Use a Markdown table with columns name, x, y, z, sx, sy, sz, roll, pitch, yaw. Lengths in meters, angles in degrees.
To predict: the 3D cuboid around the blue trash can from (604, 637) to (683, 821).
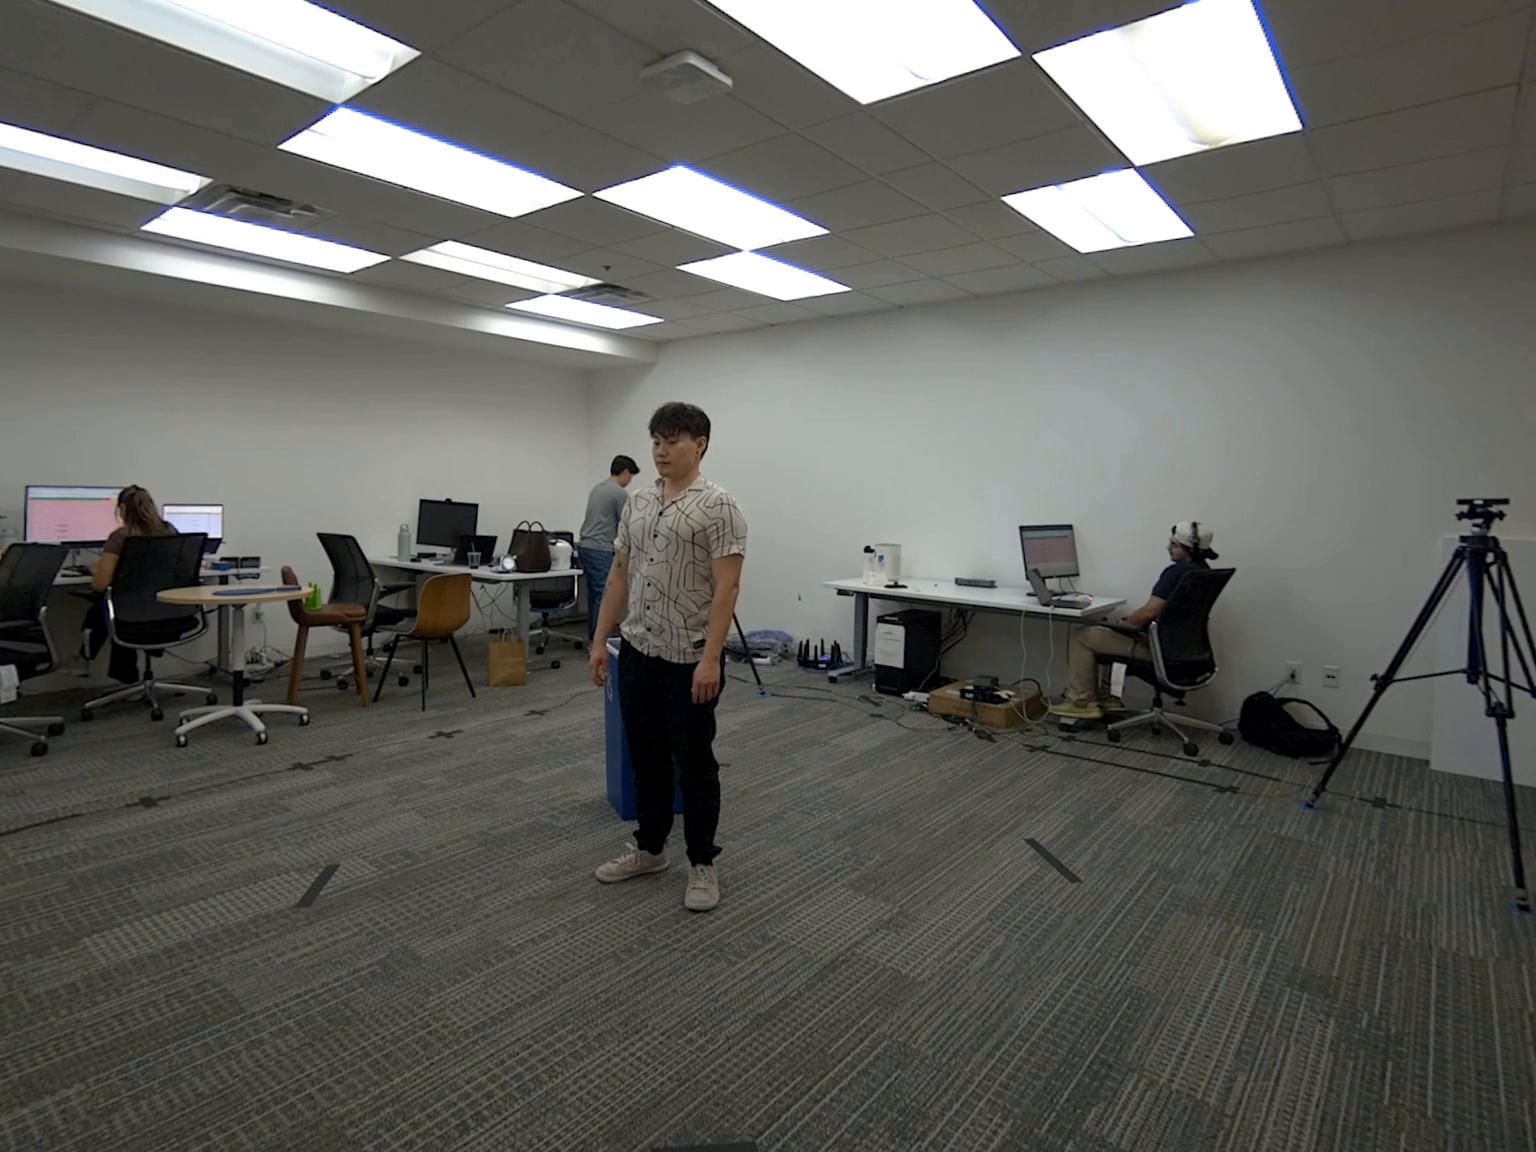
| name | x | y | z | sx | sy | sz | roll | pitch | yaw |
| --- | --- | --- | --- | --- | --- | --- | --- | --- | --- |
| blue trash can | -0.524 | 0.647 | 3.713 | 0.370 | 0.711 | 0.383 | -1 | 3 | -23 |
